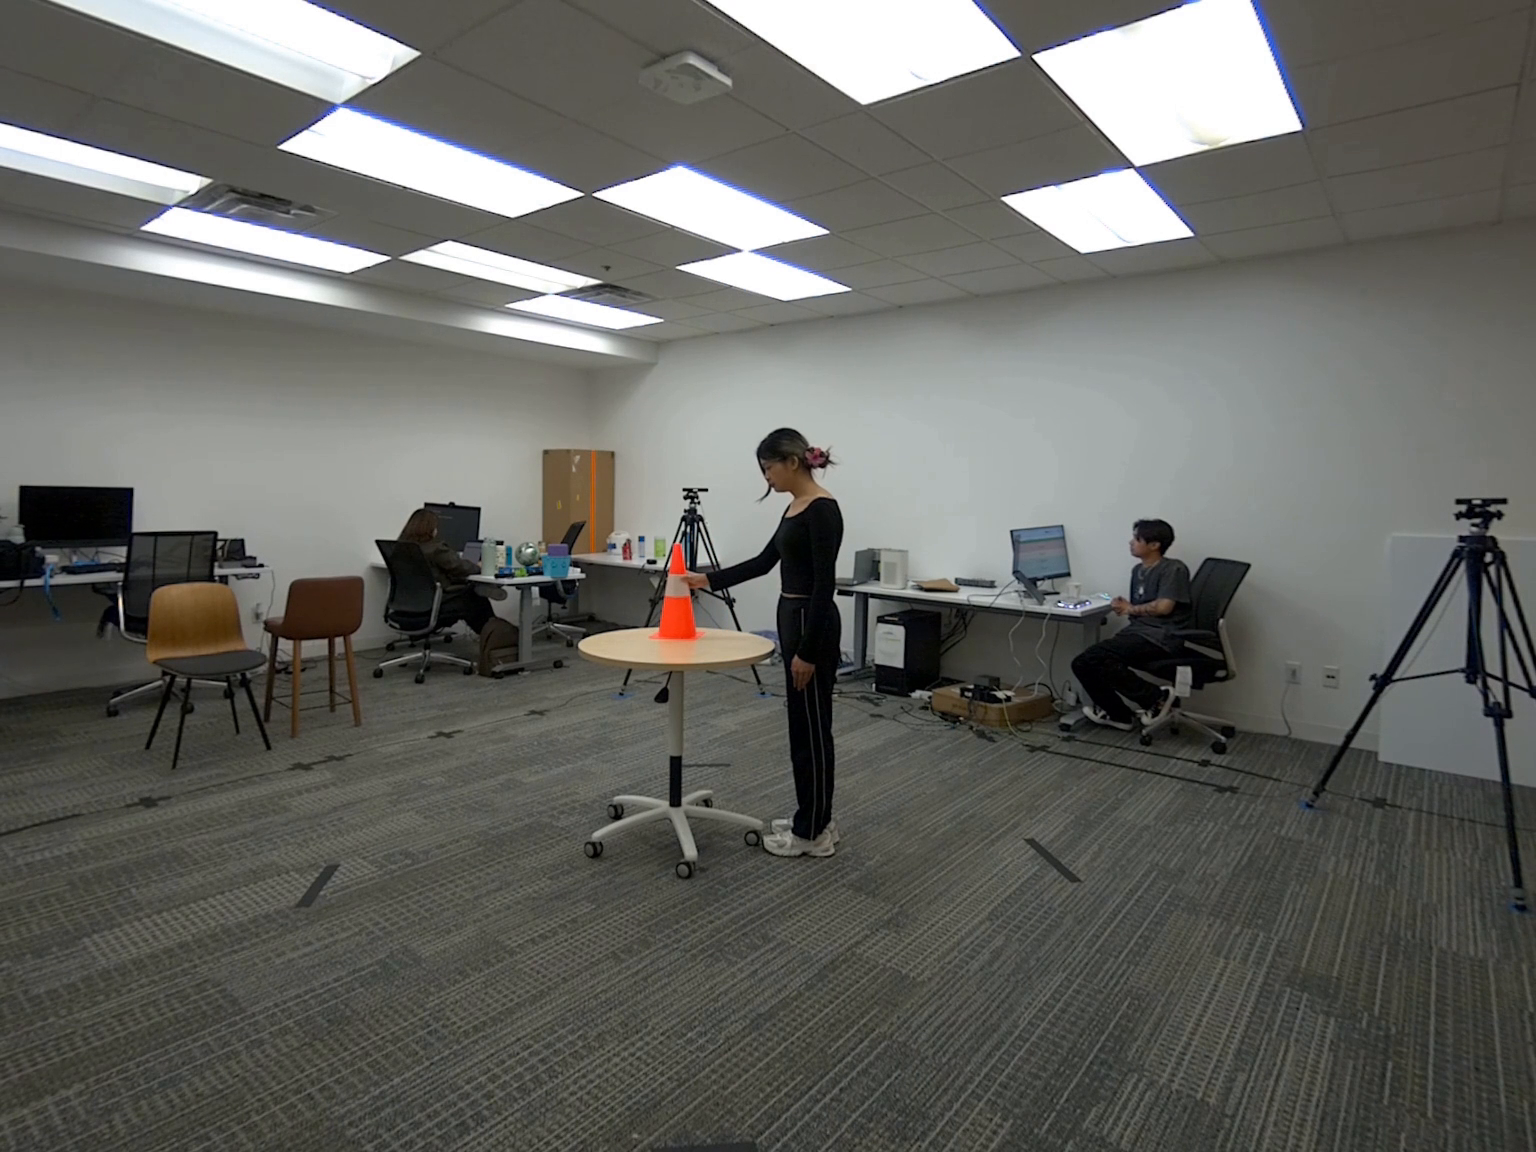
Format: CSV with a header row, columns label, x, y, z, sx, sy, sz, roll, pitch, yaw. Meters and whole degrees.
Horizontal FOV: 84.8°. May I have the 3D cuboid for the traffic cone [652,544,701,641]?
label,x,y,z,sx,sy,sz,roll,pitch,yaw
traffic cone,-0.374,0.054,3.512,0.204,0.383,0.204,5,2,2
